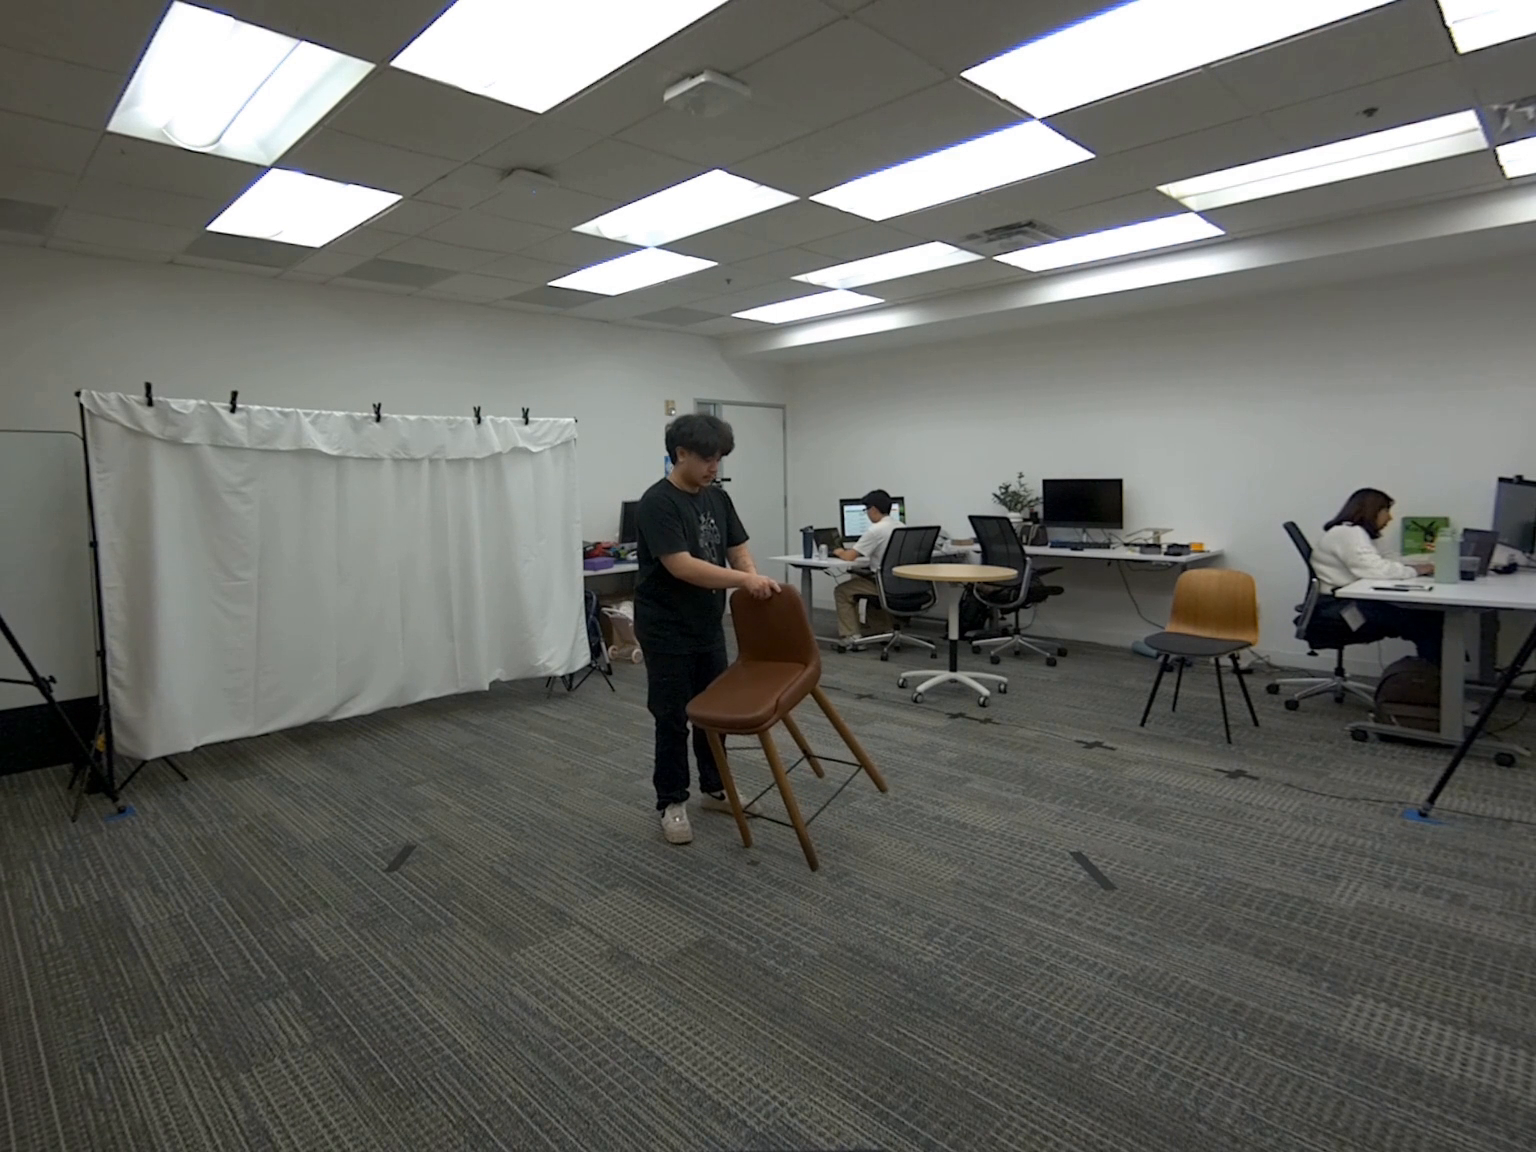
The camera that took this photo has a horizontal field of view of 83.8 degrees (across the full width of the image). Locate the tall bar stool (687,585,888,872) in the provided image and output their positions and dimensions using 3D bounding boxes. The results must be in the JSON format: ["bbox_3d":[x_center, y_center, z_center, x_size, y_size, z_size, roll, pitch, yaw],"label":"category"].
[{"bbox_3d":[0.021,0.530,3.118,0.463,0.876,0.468,-32,16,-35],"label":"tall bar stool"}]
